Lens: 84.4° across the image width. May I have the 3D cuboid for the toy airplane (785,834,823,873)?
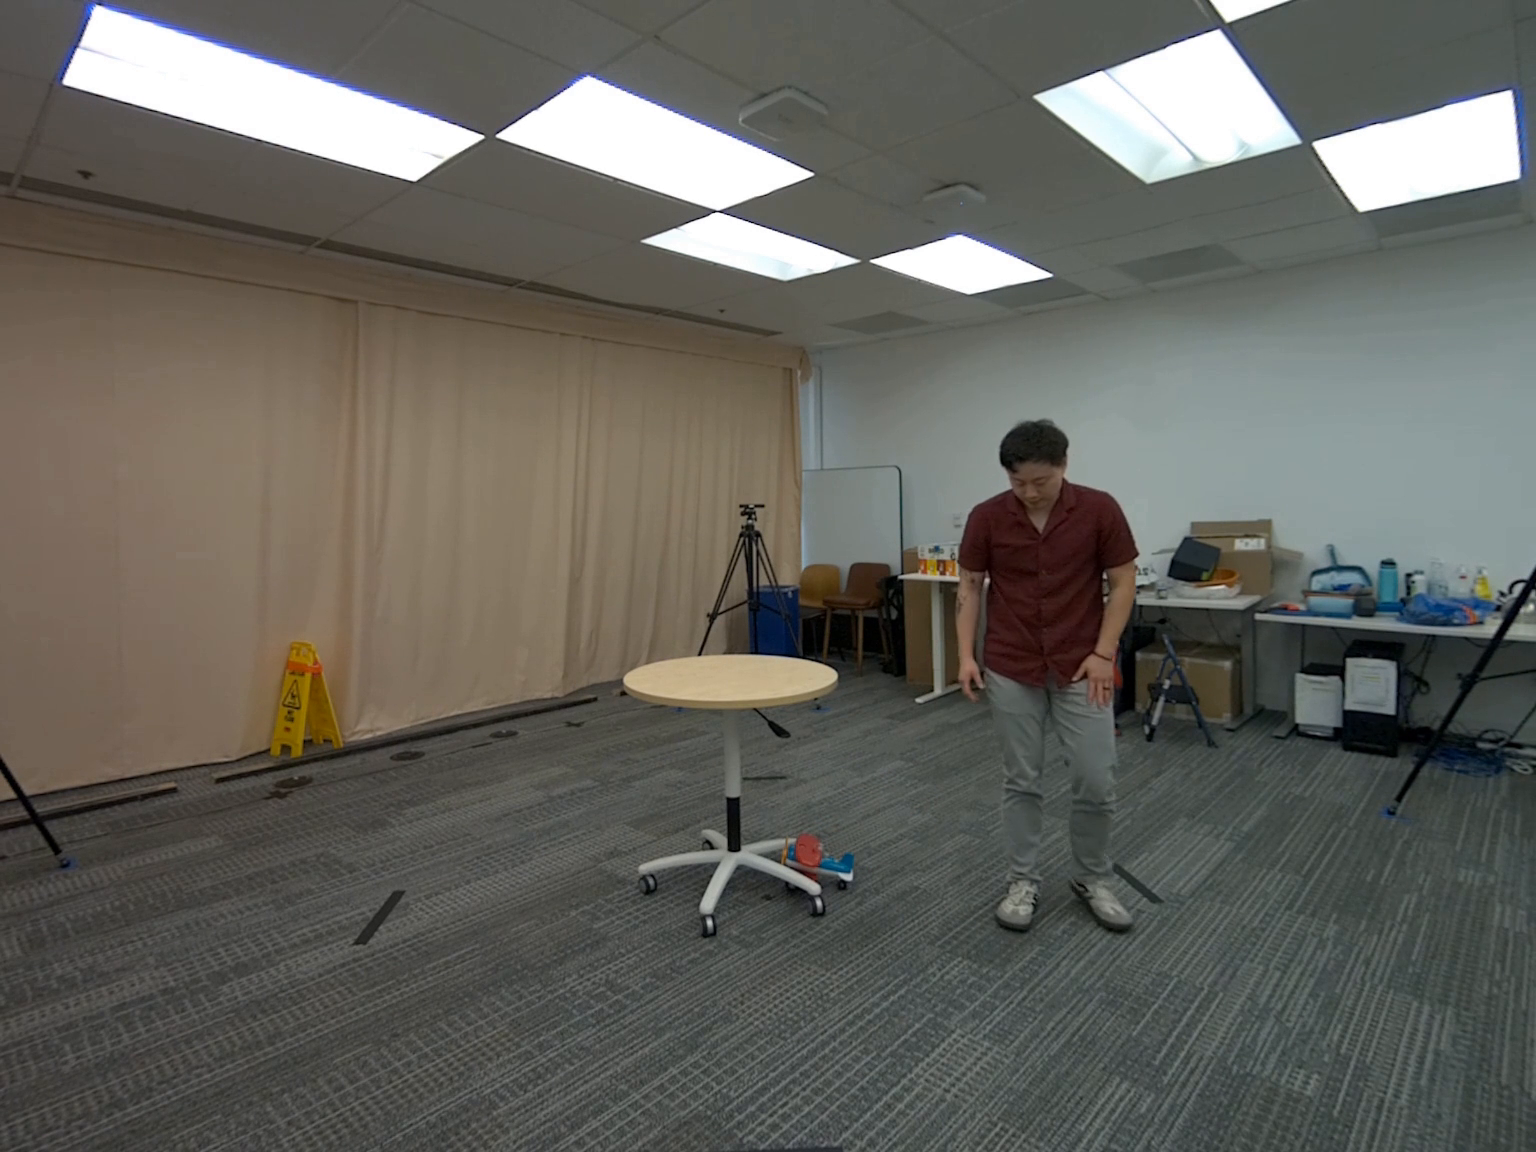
[{"bbox_3d":[0.180,1.050,3.066,0.254,0.156,0.257,-3,5,-22],"label":"toy airplane"}]
